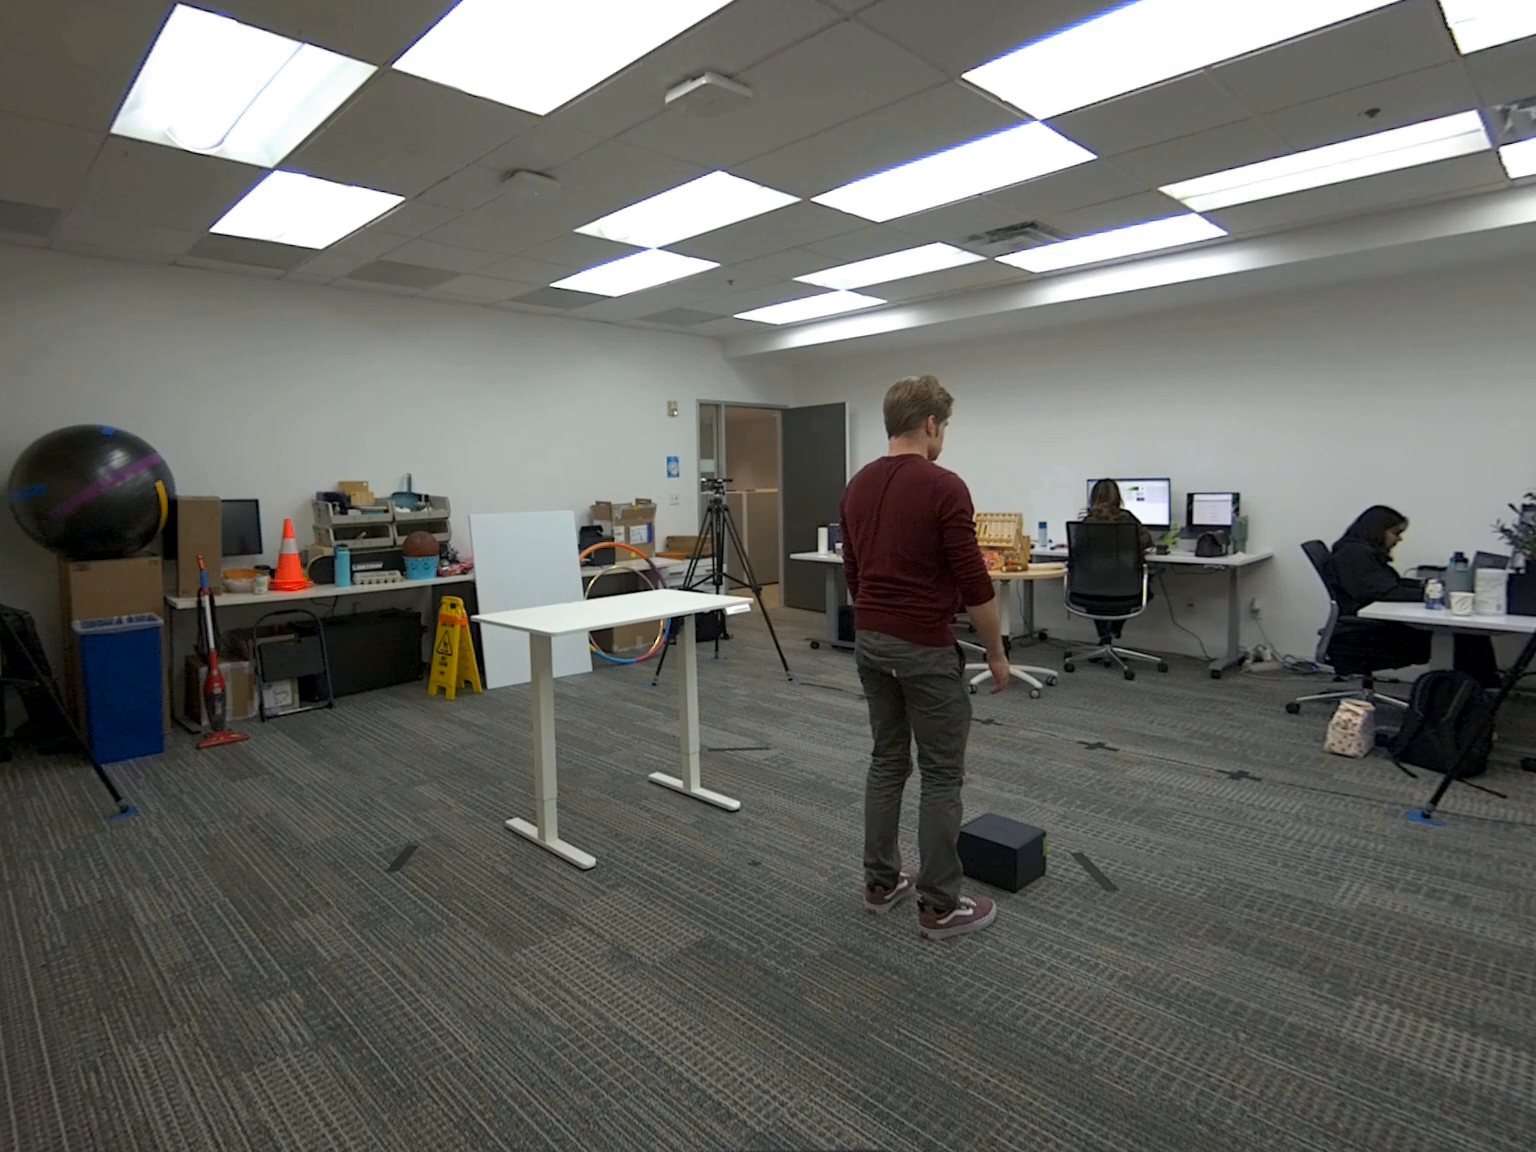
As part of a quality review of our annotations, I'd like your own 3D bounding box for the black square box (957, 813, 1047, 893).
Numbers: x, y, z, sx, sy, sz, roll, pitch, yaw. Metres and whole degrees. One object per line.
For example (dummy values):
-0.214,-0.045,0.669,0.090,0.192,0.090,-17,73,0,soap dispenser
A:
0.822,0.962,2.992,0.211,0.155,0.235,-6,7,-44,black square box
